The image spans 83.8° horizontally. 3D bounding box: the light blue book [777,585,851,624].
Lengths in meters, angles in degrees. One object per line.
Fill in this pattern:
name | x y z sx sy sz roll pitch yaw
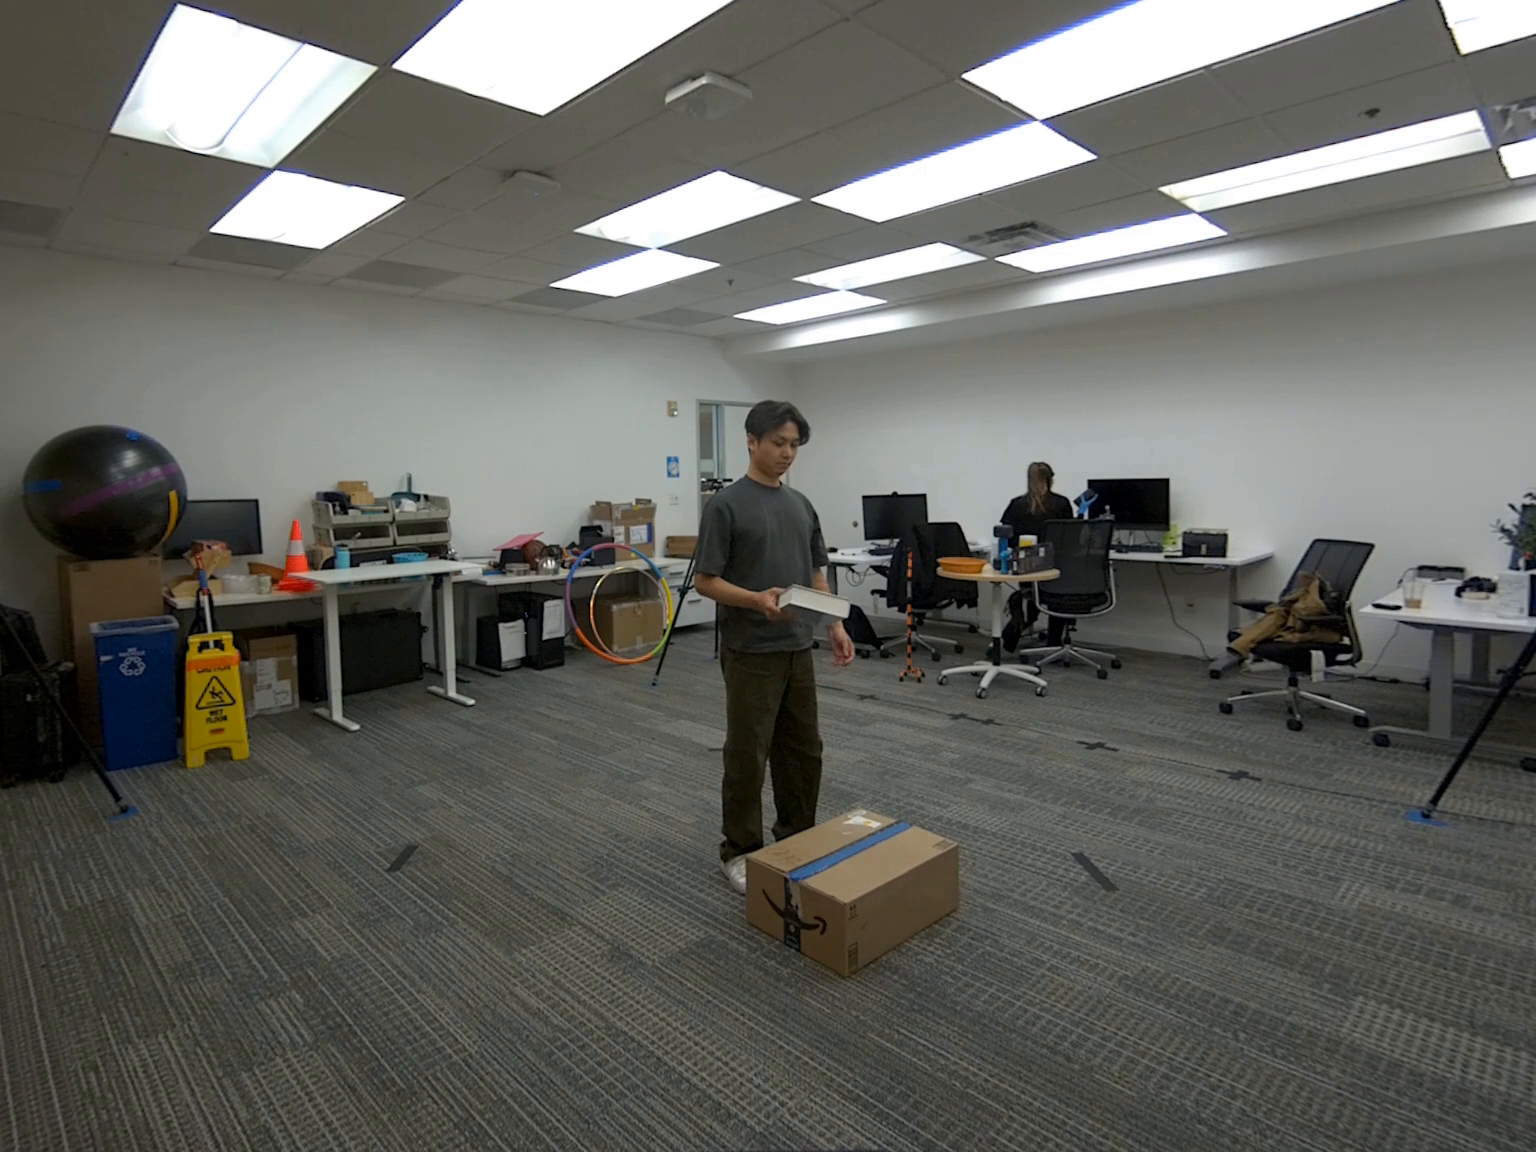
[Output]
light blue book | 0.149 0.098 2.702 0.191 0.059 0.259 14 -9 -2
